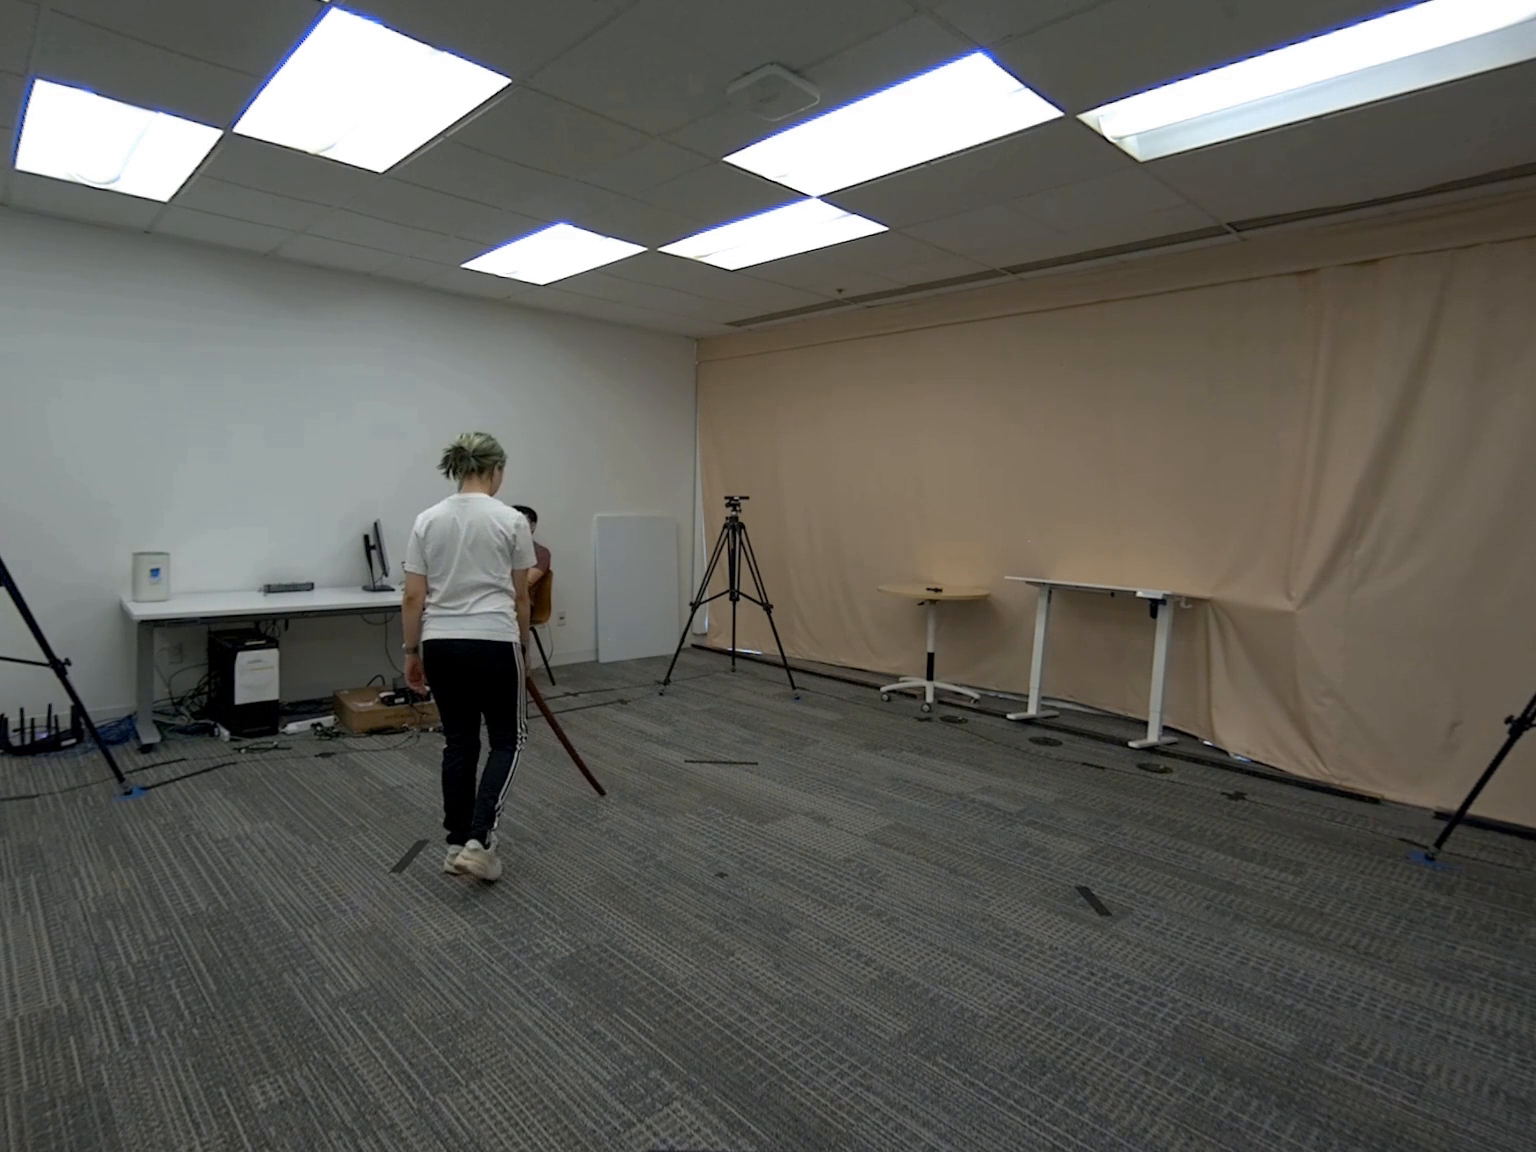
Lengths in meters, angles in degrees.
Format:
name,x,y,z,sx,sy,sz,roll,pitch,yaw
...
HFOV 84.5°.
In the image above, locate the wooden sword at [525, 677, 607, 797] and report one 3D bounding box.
name,x,y,z,sx,sy,sz,roll,pitch,yaw
wooden sword,-0.899,0.665,3.592,0.053,0.996,0.024,19,53,33
